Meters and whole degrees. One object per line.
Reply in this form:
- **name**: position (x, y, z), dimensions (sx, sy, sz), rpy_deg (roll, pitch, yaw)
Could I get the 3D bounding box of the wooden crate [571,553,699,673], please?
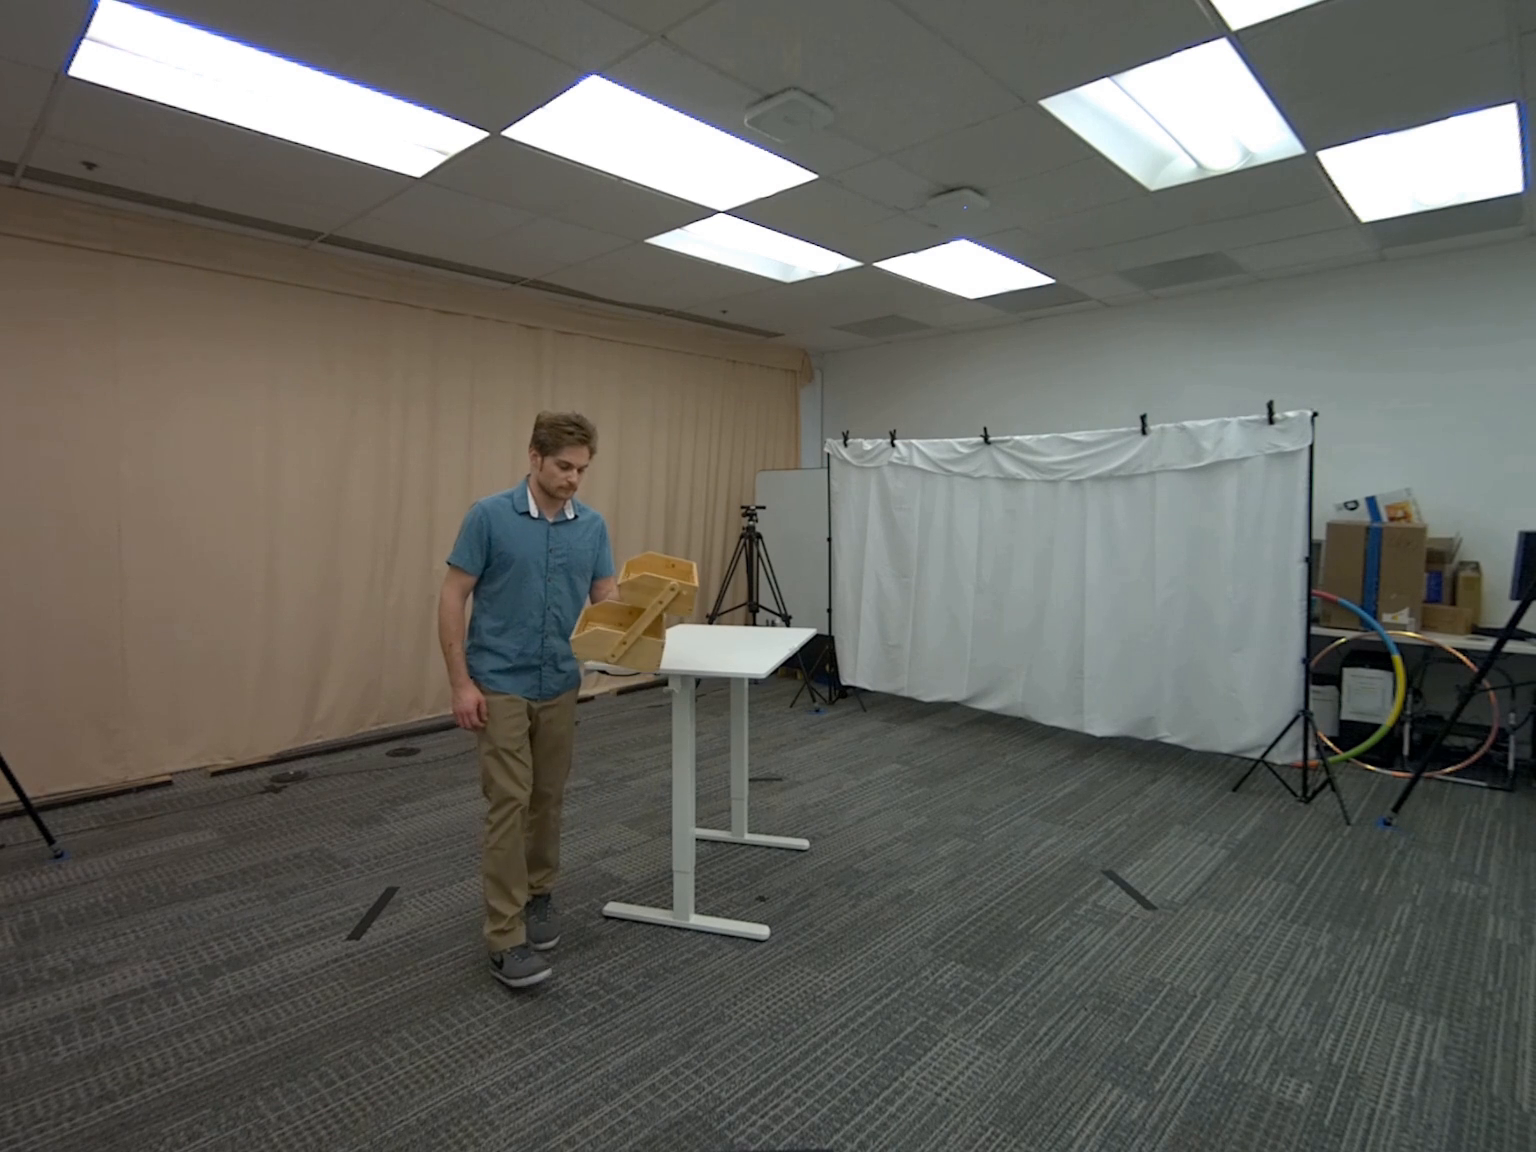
- **wooden crate**: position (-0.376, 0.082, 2.345), dimensions (0.299, 0.272, 0.329), rpy_deg (11, 11, -10)
